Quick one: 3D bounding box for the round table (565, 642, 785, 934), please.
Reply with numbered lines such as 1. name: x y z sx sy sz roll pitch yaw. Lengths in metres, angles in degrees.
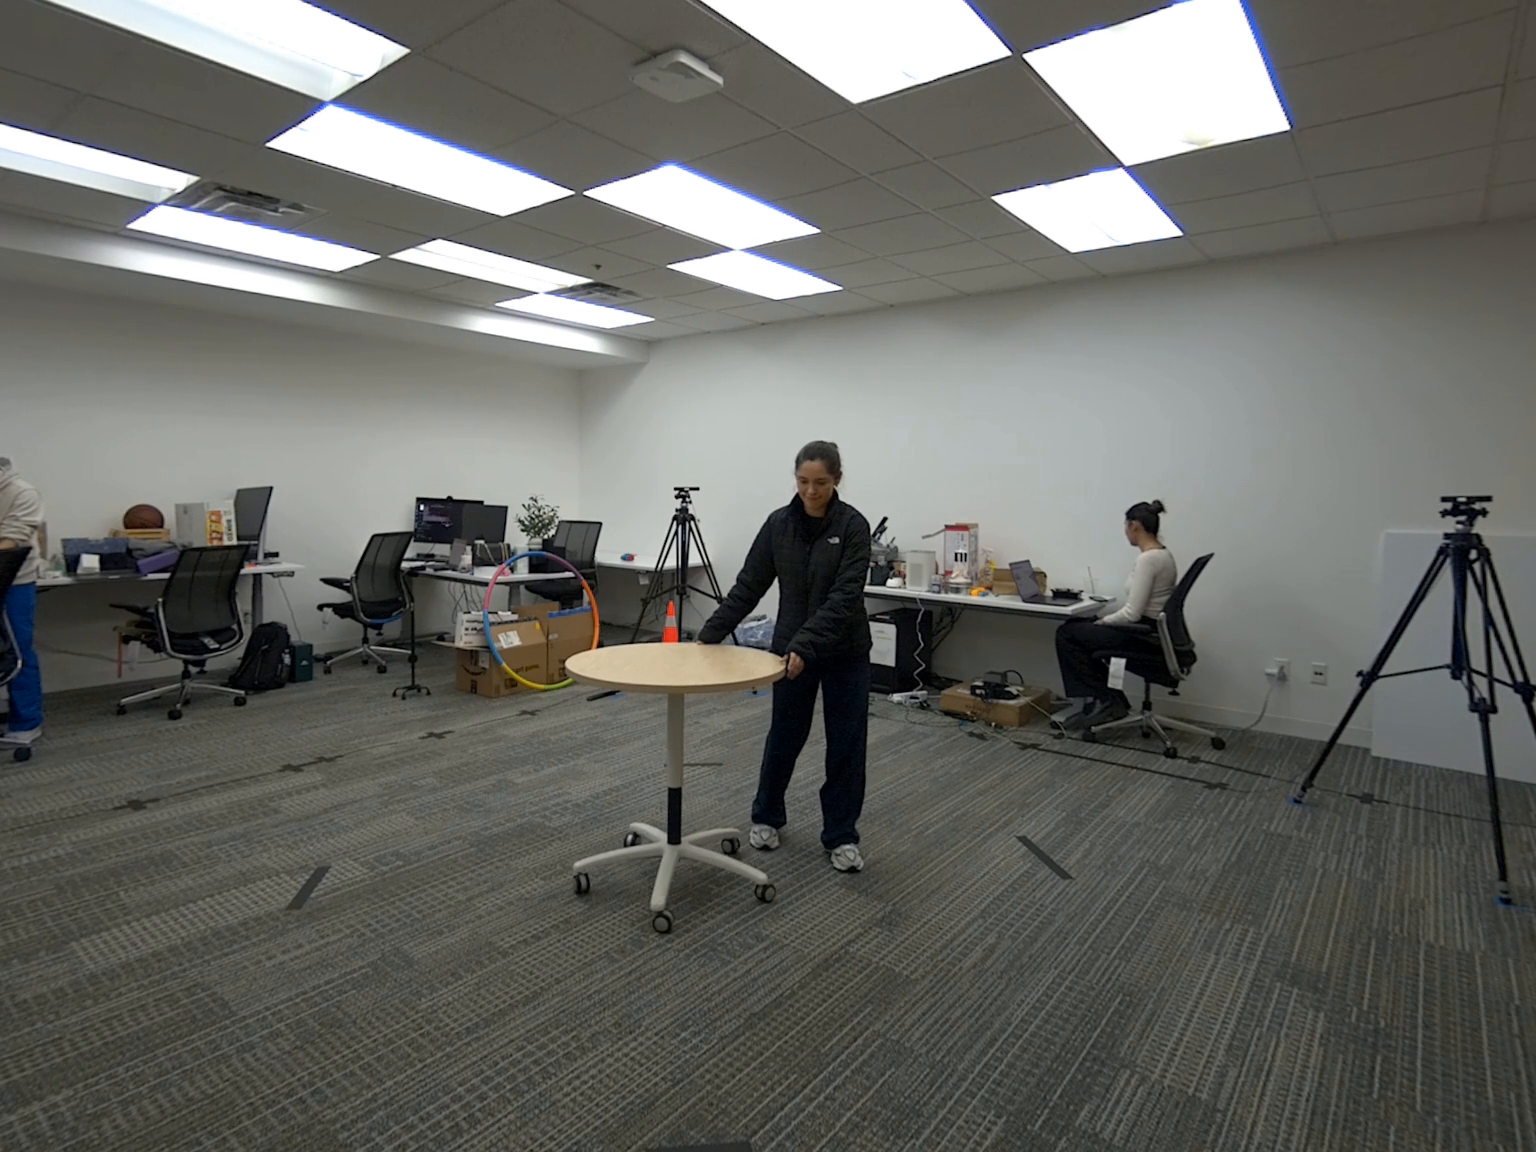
1. round table: -0.313 0.678 3.011 0.784 0.784 0.789 1 4 -2
